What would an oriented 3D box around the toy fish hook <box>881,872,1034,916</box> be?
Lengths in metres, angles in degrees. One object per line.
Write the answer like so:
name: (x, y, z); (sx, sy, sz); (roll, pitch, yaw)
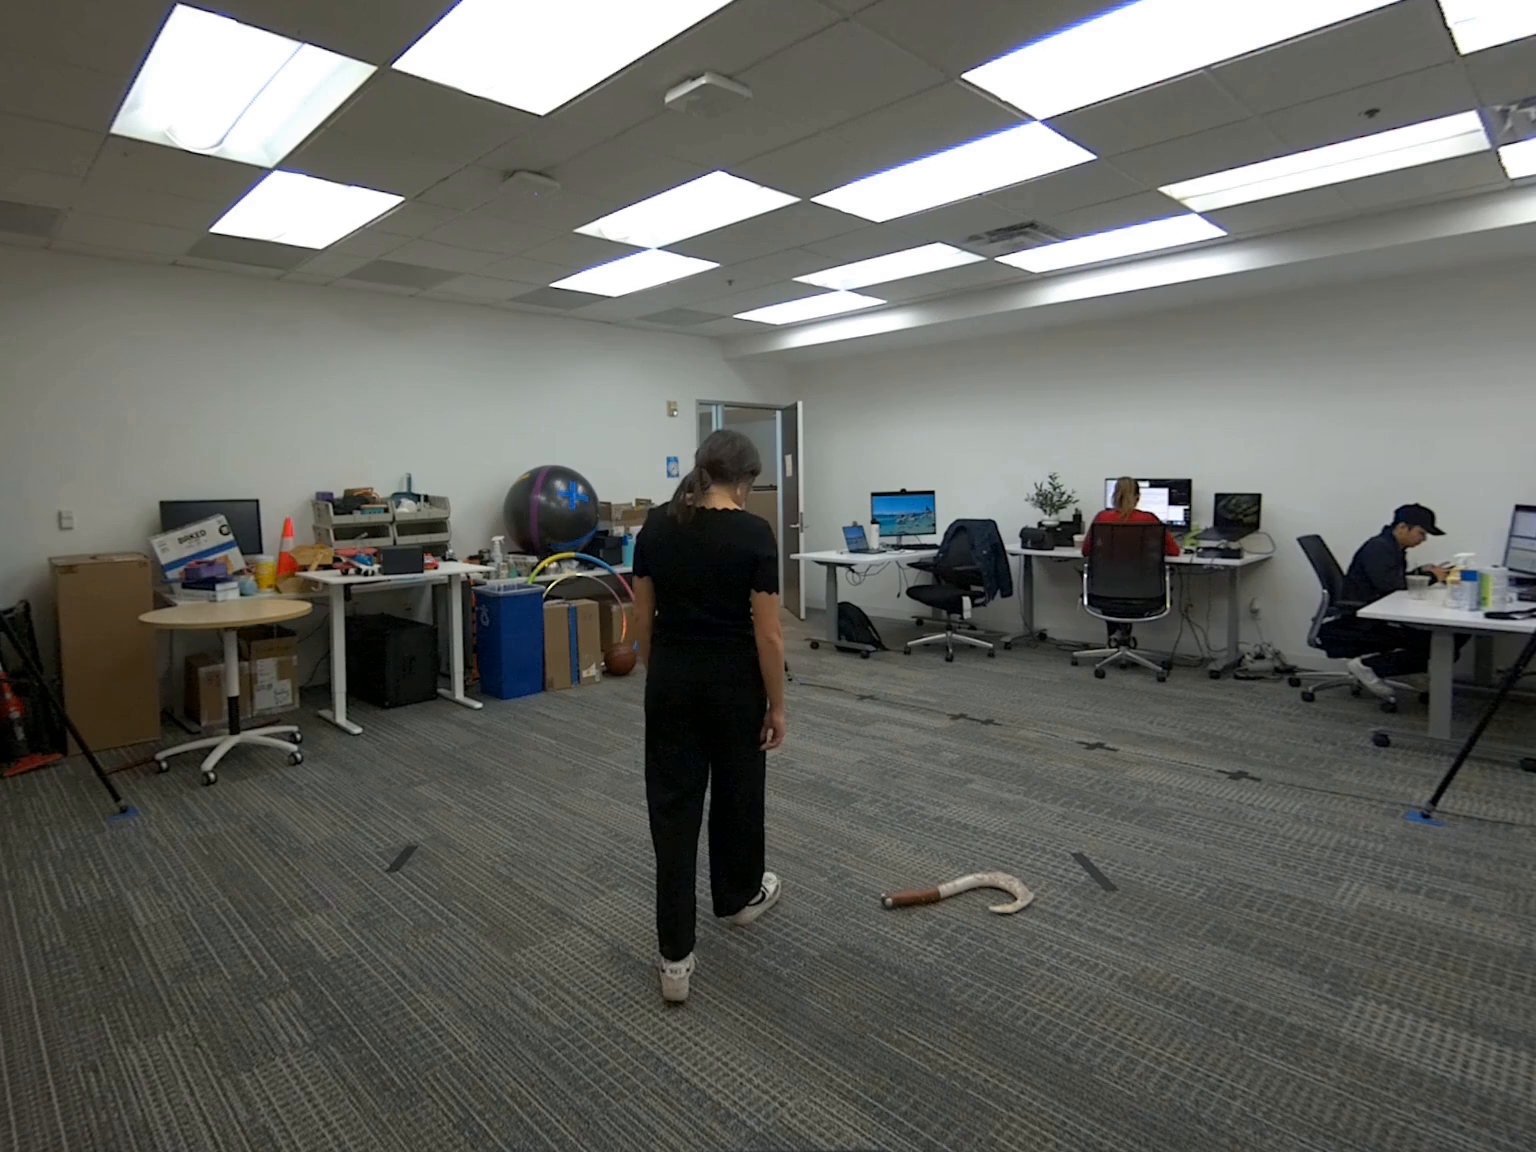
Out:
toy fish hook: (0.629, 1.050, 2.779); (0.499, 0.048, 0.229); (-3, 6, -17)
